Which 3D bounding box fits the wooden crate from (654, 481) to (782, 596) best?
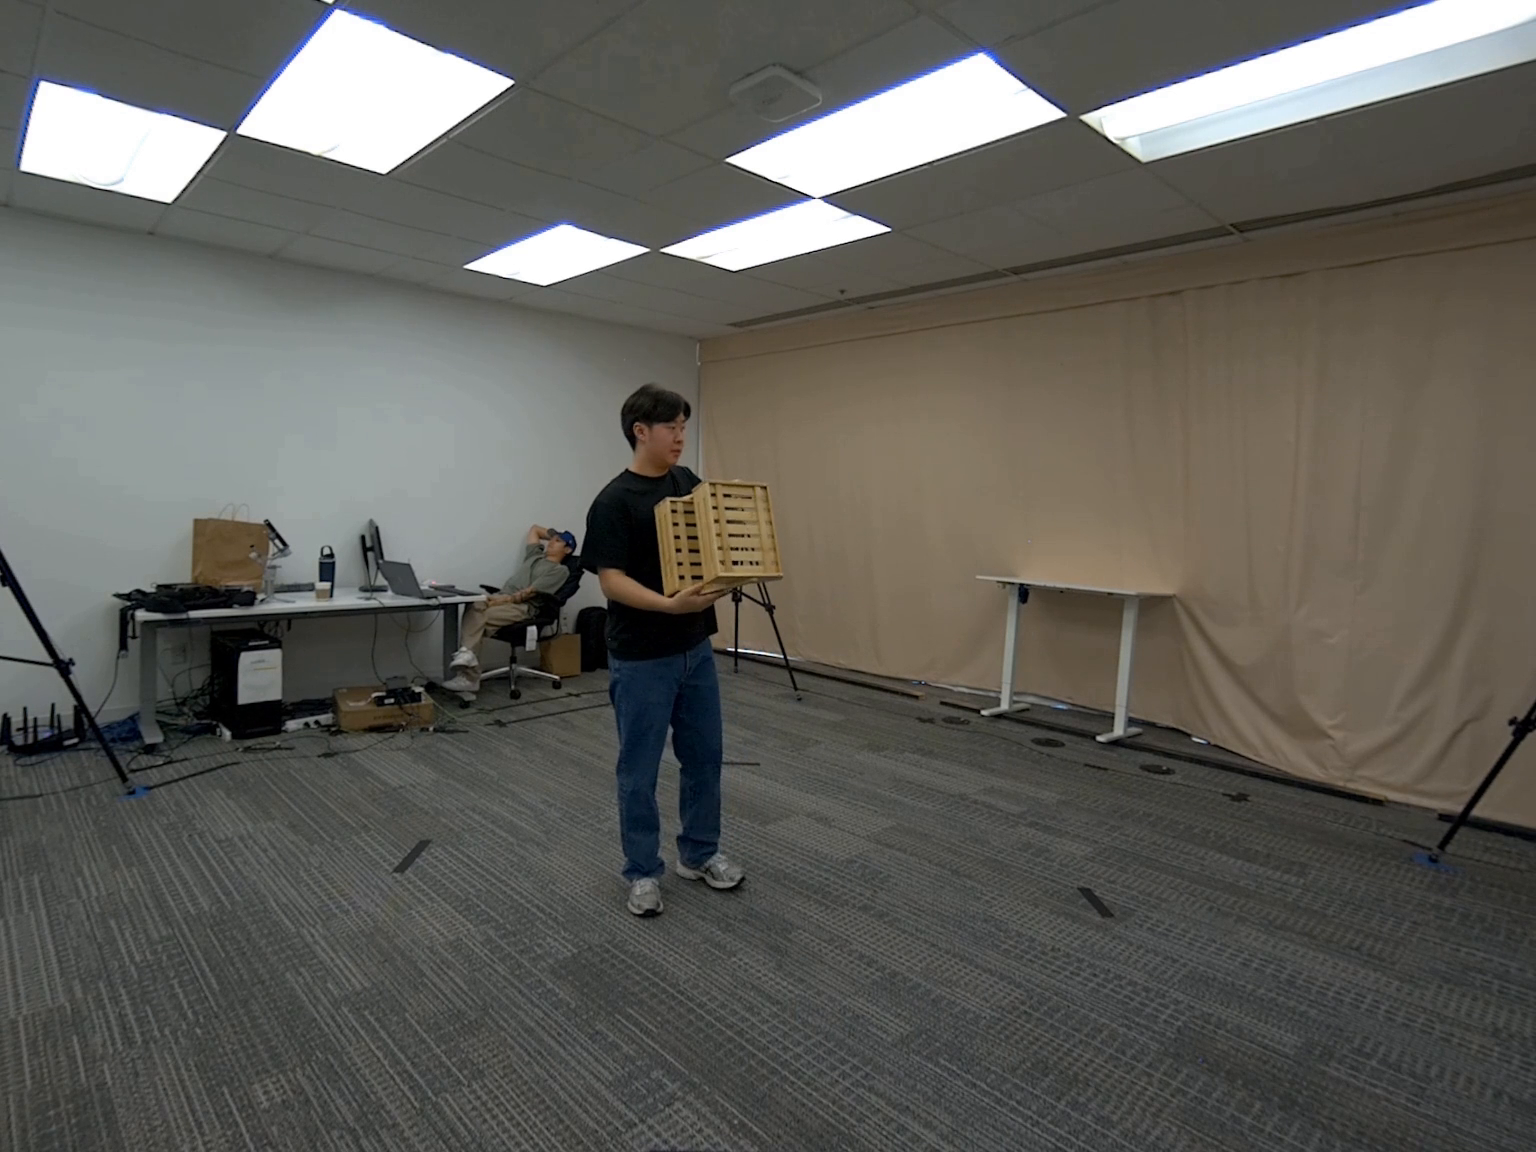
[{"bbox_3d":[-0.164,-0.112,2.652,0.296,0.328,0.276,2,-15,-29],"label":"wooden crate"}]
